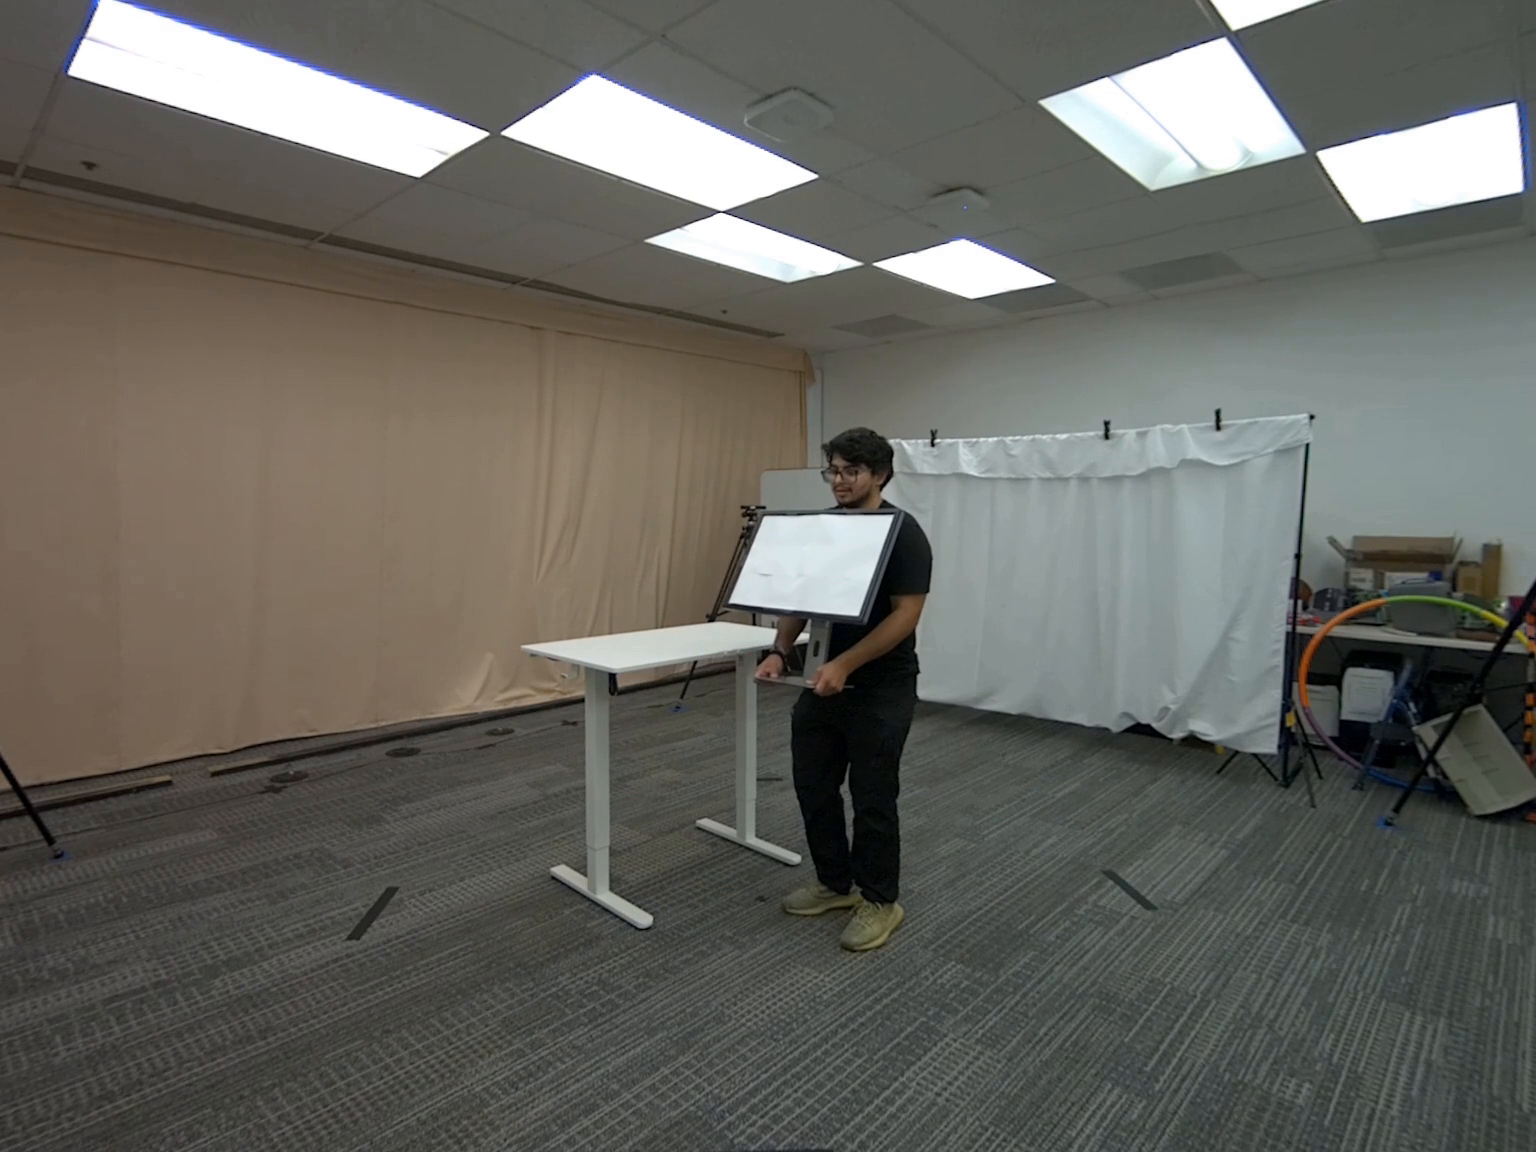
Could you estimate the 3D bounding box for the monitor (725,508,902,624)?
[{"bbox_3d":[0.147,0.075,2.596,0.584,0.556,0.202,4,-19,44],"label":"monitor"}]
